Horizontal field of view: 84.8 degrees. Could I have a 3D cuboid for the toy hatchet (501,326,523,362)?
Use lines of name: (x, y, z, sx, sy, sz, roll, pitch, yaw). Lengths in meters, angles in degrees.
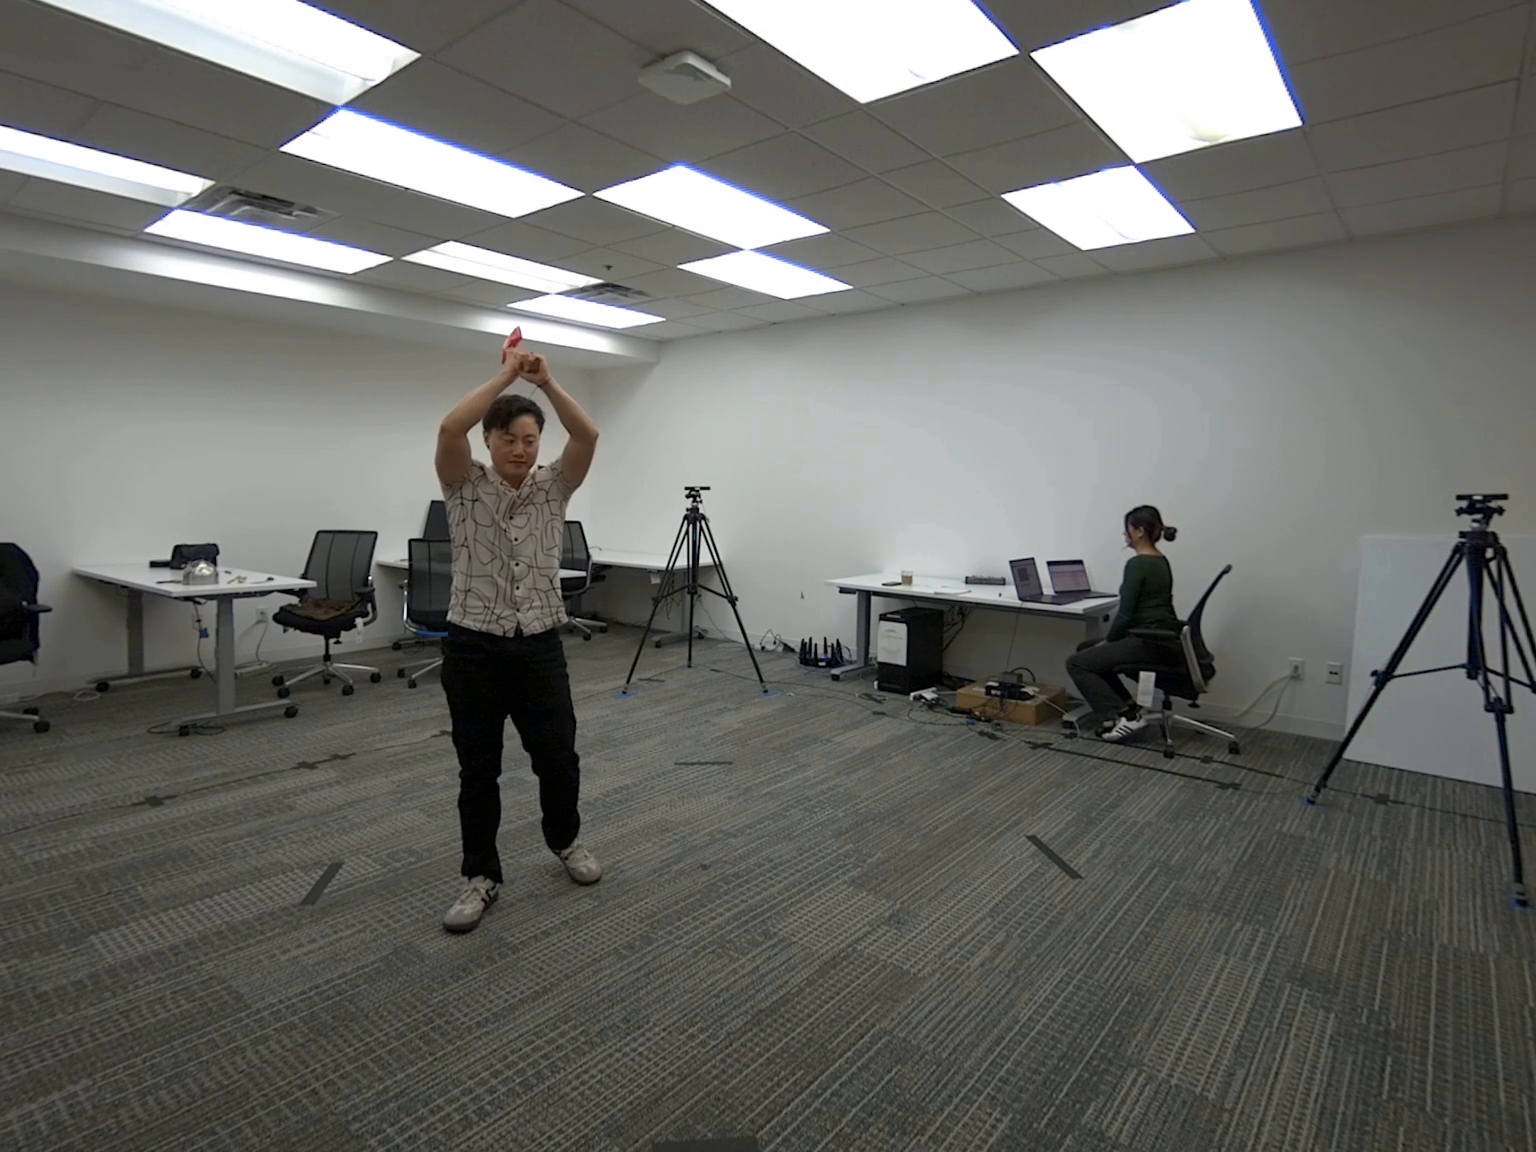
toy hatchet: (-0.771, -0.707, 2.627, 0.028, 0.131, 0.281, 19, 4, -37)
